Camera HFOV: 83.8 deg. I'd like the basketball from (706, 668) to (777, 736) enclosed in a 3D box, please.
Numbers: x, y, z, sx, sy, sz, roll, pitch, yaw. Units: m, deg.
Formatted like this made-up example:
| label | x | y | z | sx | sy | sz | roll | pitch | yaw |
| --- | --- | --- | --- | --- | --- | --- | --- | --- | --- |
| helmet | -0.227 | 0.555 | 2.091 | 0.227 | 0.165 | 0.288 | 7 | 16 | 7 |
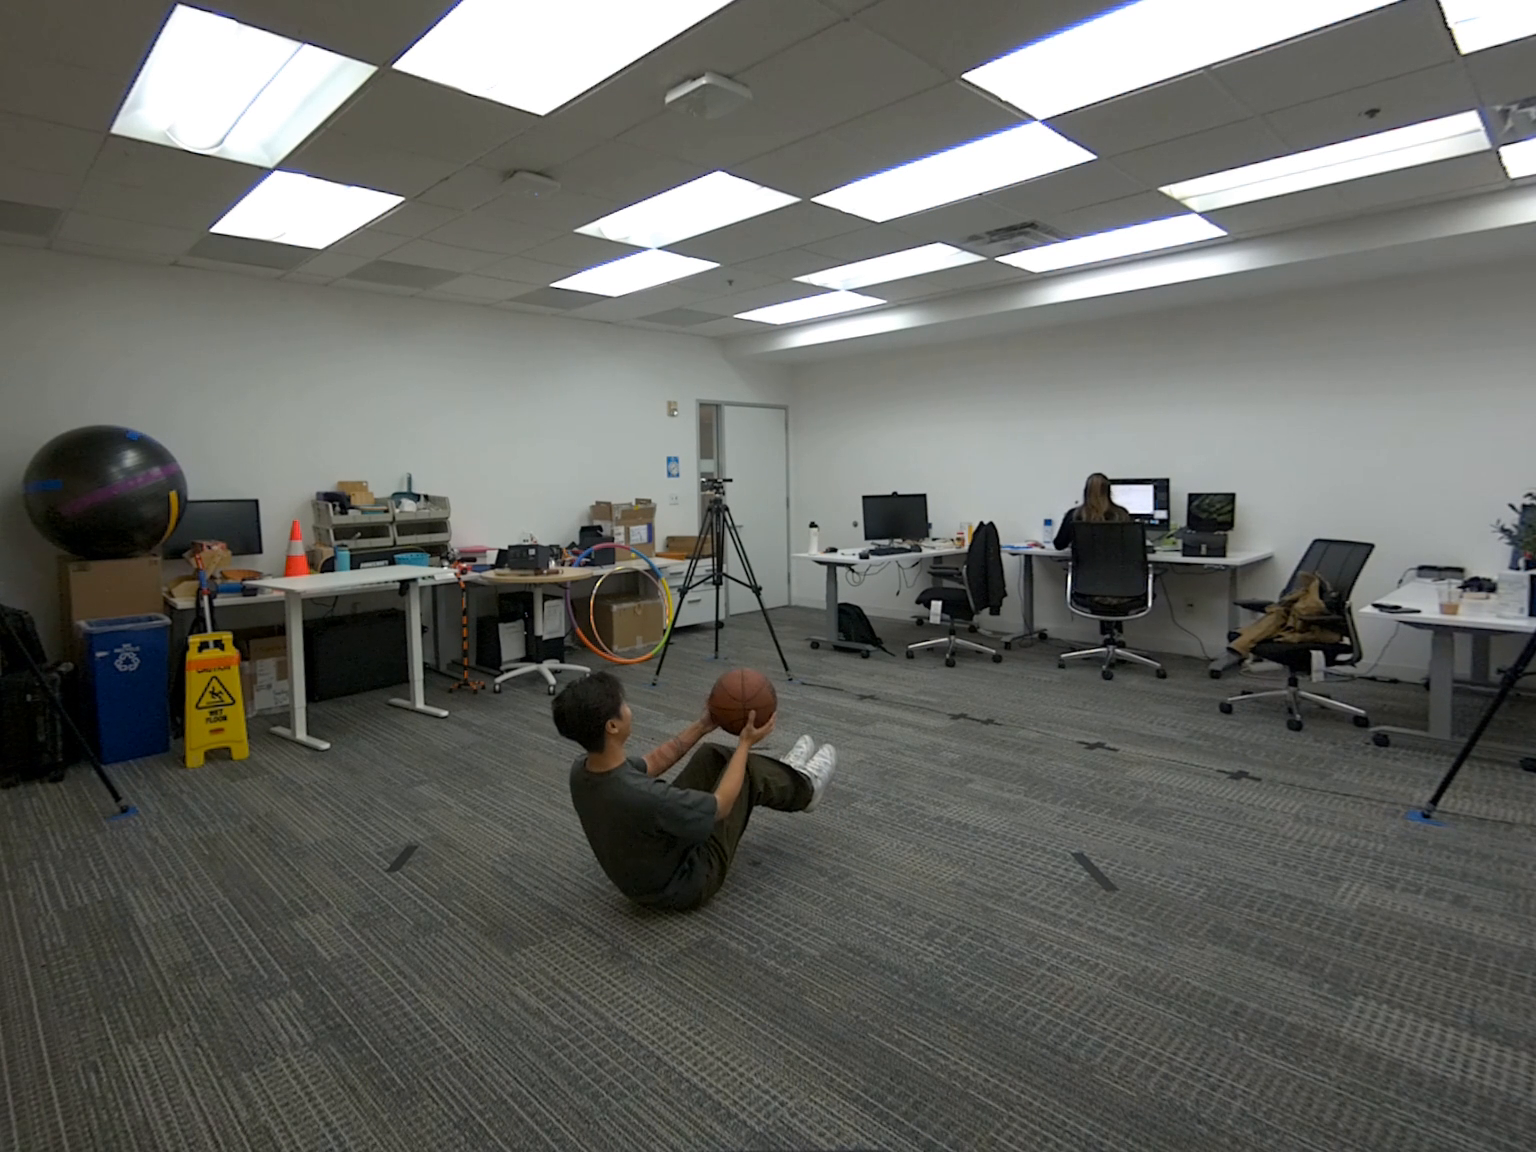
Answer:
| label | x | y | z | sx | sy | sz | roll | pitch | yaw |
| --- | --- | --- | --- | --- | --- | --- | --- | --- | --- |
| basketball | -0.081 | 0.454 | 3.014 | 0.236 | 0.235 | 0.237 | -1 | 5 | -2 |
